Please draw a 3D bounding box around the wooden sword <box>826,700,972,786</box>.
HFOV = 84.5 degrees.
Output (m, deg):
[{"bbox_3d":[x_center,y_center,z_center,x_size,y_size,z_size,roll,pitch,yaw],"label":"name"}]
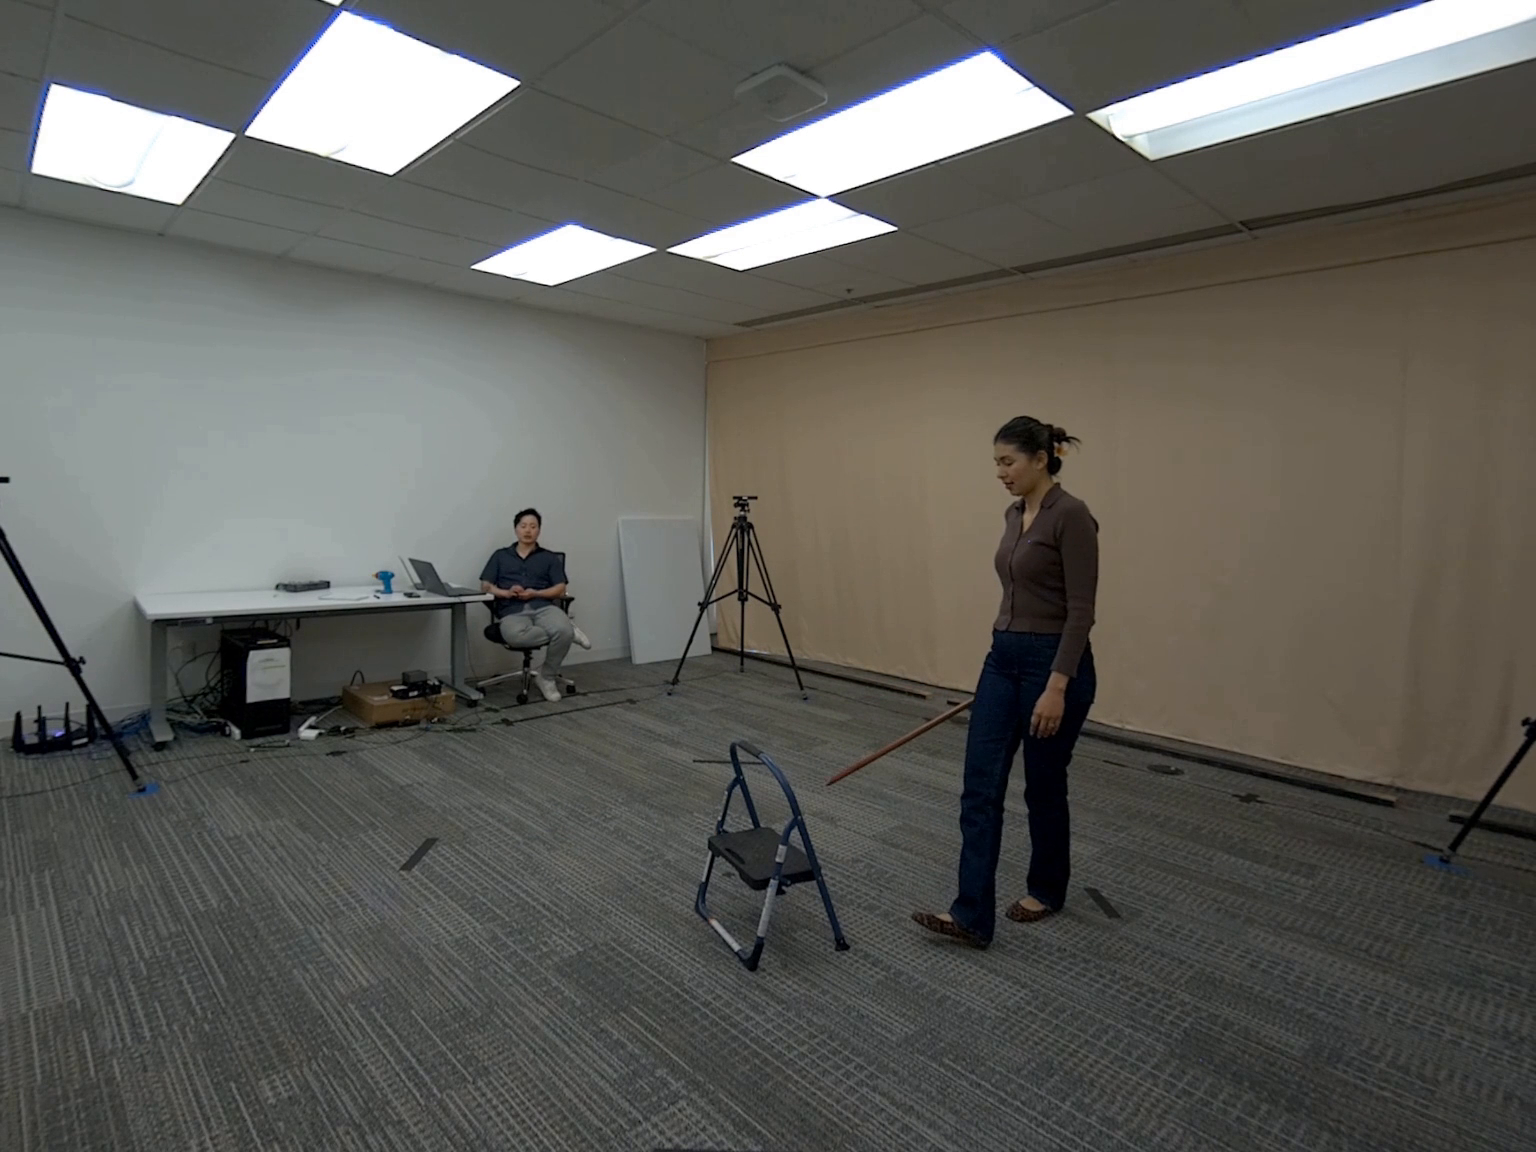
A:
[{"bbox_3d":[0.644,0.513,3.029,1.020,0.025,0.050,-26,-35,-10],"label":"wooden sword"}]
